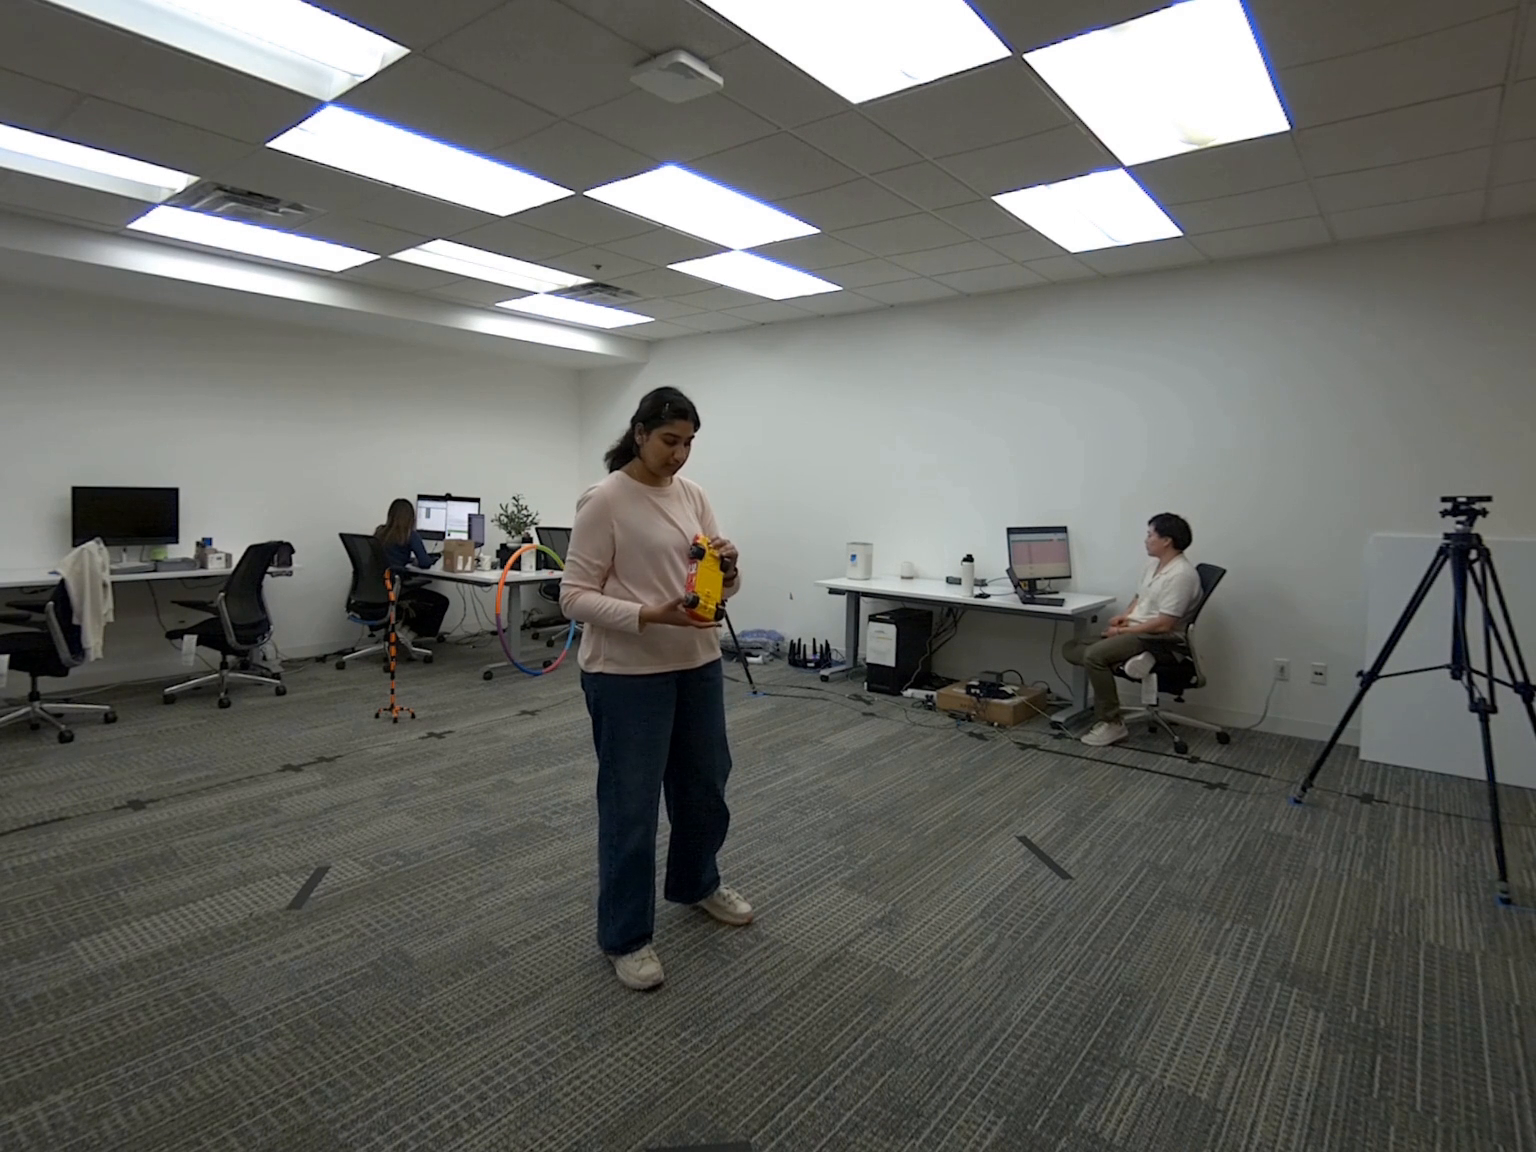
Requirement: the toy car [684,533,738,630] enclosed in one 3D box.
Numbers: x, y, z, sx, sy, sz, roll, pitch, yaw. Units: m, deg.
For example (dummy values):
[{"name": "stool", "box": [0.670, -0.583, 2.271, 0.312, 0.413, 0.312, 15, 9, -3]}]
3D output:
[{"name": "toy car", "box": [-0.168, -0.003, 2.251, 0.125, 0.262, 0.083, 25, -48, -33]}]
